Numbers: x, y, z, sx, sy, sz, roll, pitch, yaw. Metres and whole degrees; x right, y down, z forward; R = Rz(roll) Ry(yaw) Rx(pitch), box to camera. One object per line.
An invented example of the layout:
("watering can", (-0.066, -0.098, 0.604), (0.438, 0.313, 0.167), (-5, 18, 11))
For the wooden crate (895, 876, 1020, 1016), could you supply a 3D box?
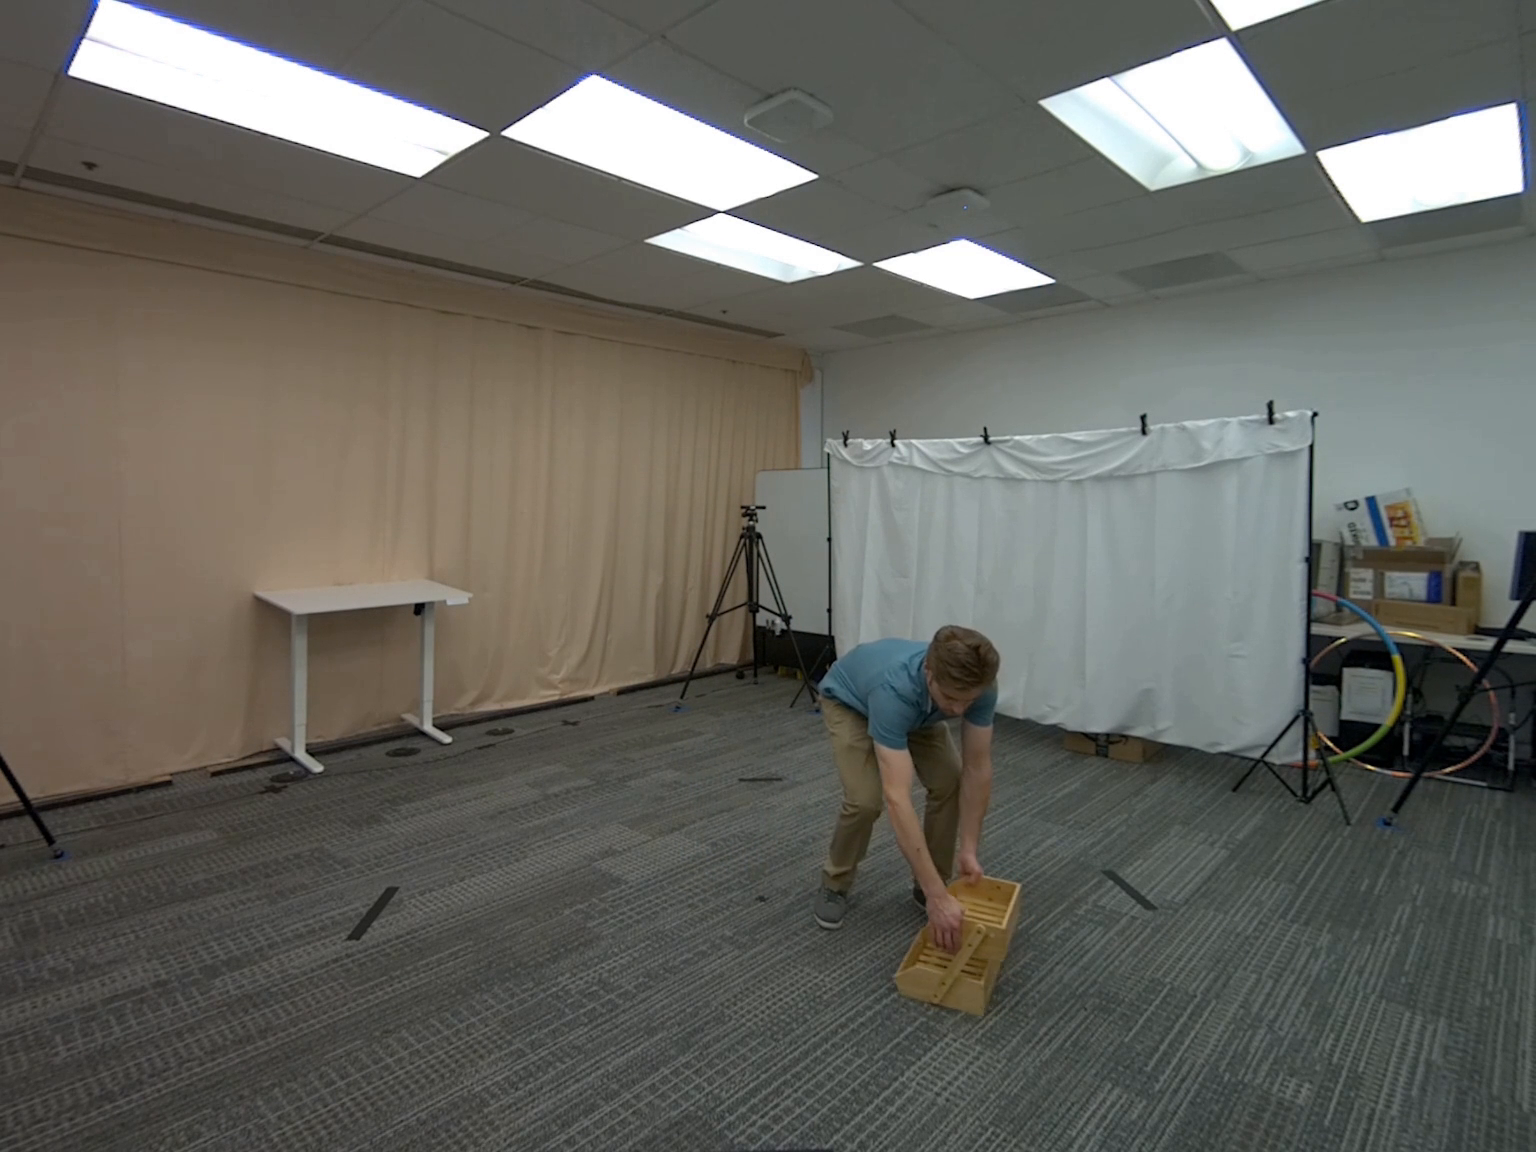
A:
("wooden crate", (0.559, 1.053, 2.460), (0.310, 0.273, 0.317), (3, 5, 26))
